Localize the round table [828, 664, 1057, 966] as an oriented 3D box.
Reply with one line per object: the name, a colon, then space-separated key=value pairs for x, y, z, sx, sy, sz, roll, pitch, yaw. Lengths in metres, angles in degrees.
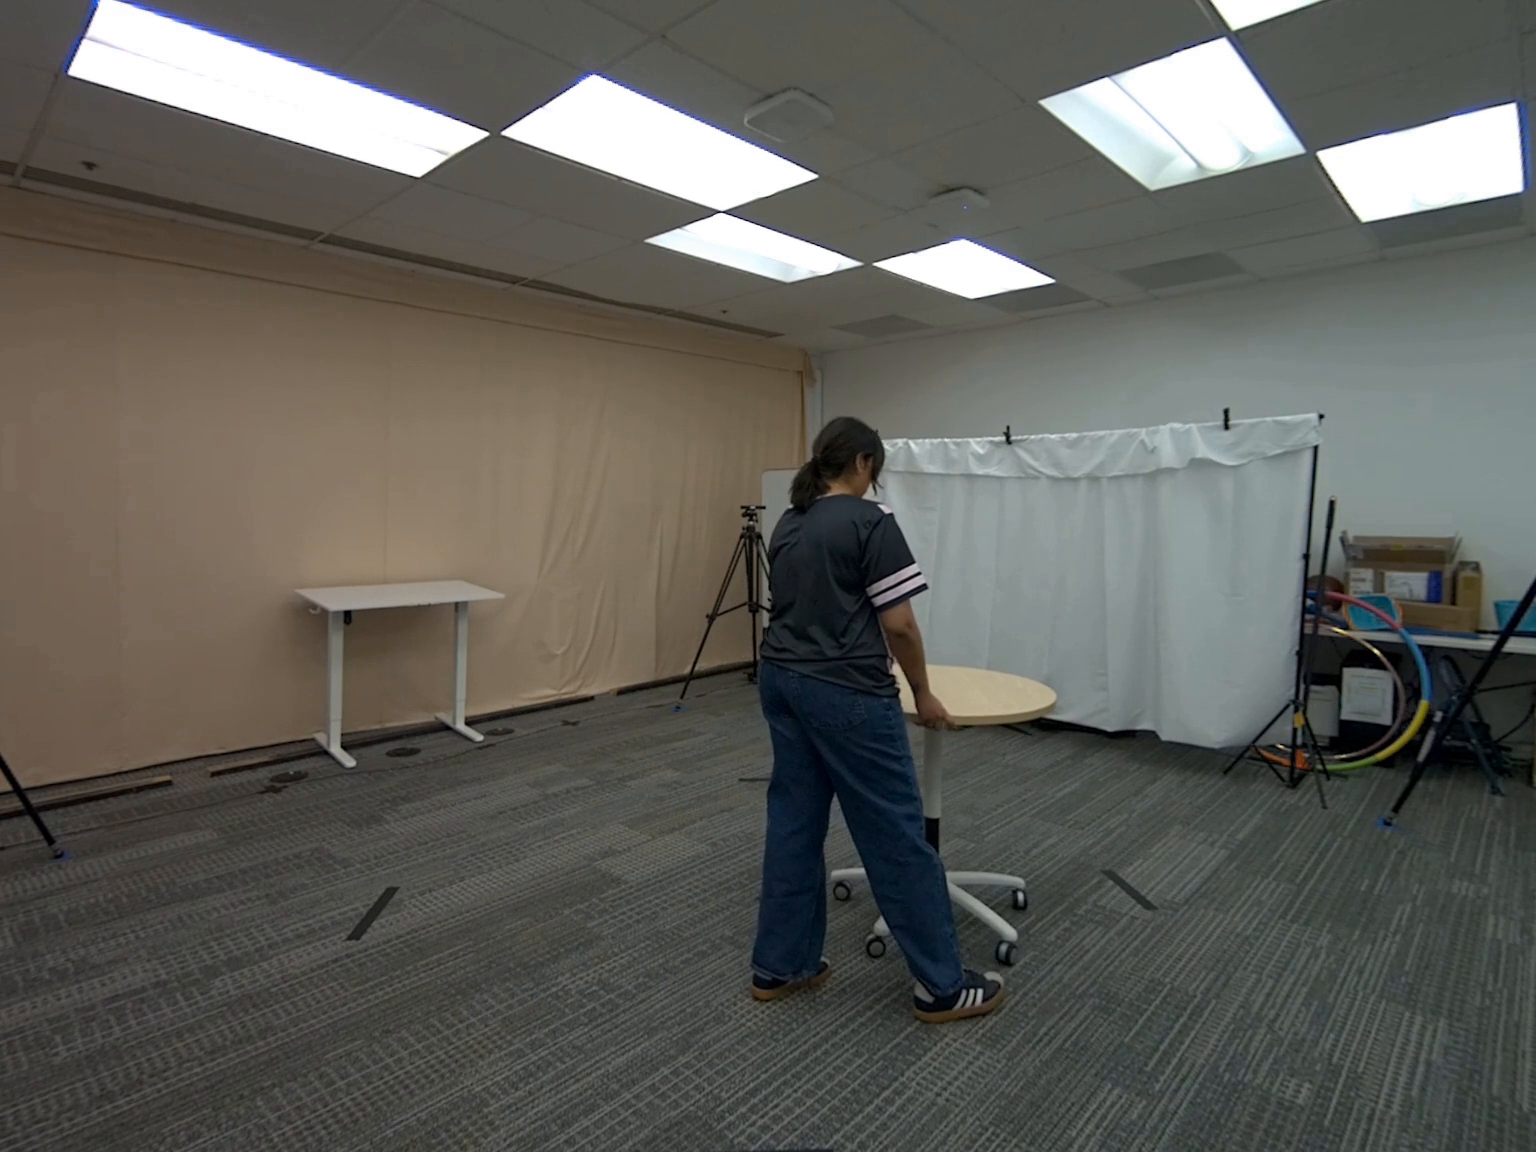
round table: x=0.543 y=0.757 z=2.854 sx=0.784 sy=0.785 sz=0.788 roll=0 pitch=4 yaw=-2
